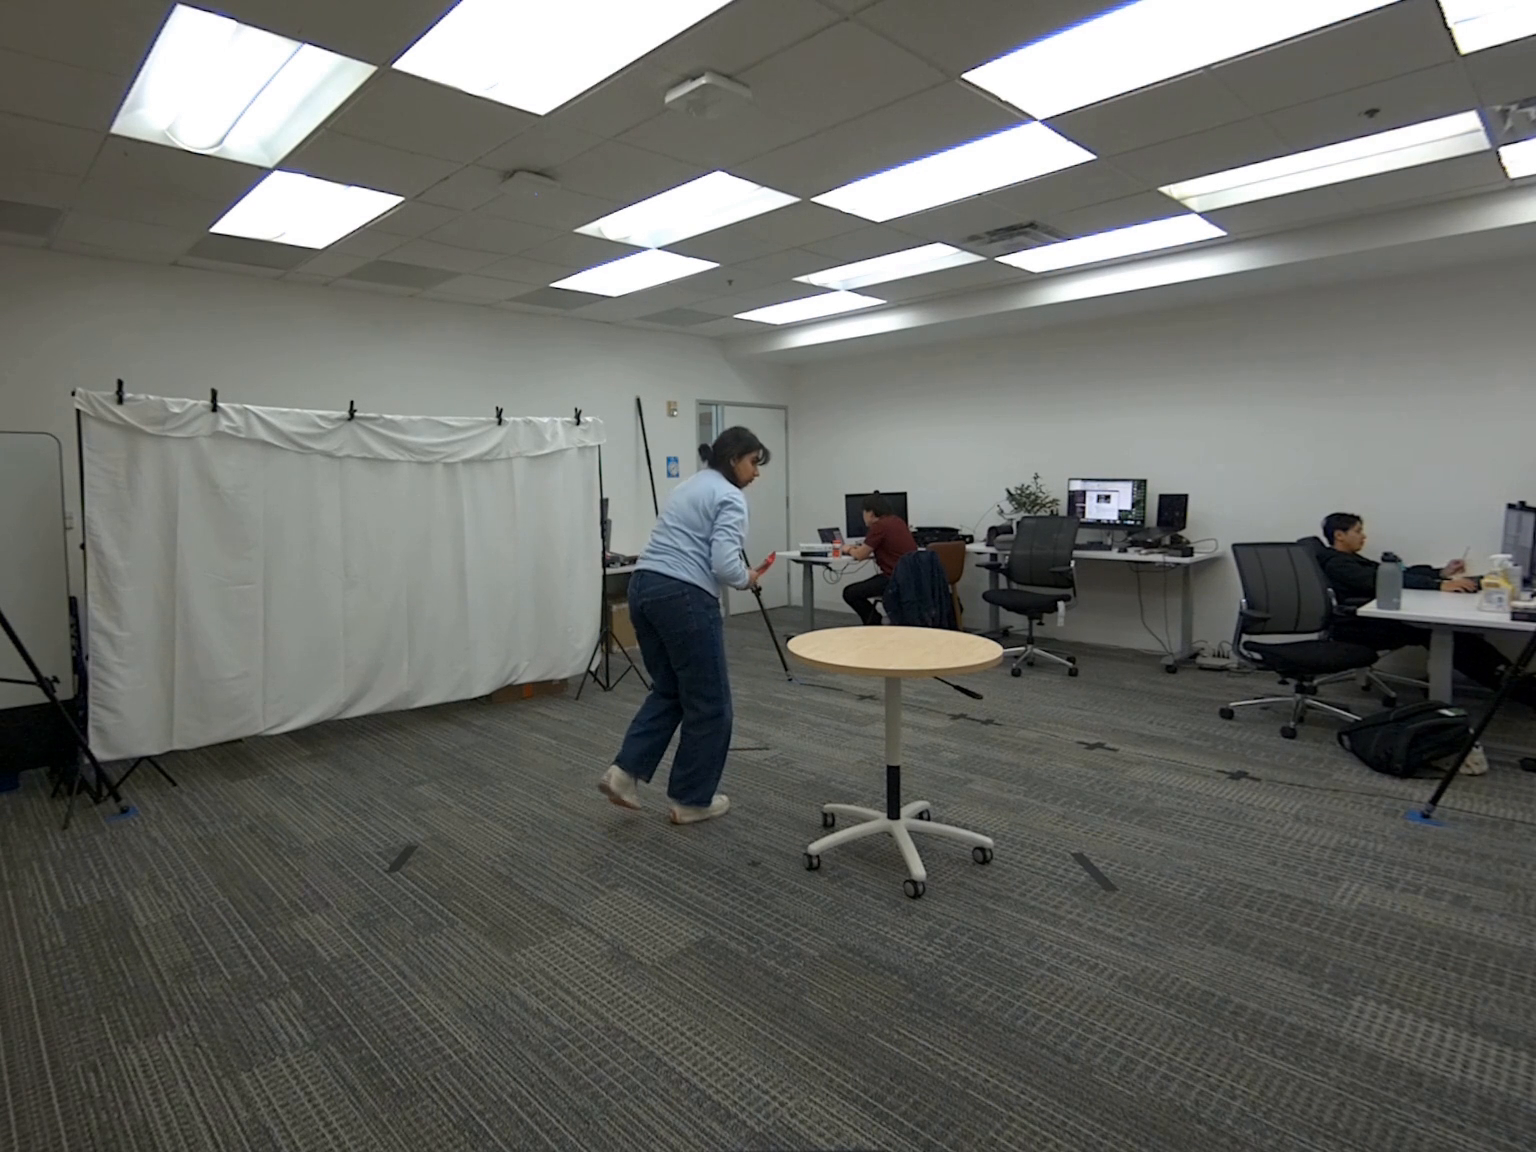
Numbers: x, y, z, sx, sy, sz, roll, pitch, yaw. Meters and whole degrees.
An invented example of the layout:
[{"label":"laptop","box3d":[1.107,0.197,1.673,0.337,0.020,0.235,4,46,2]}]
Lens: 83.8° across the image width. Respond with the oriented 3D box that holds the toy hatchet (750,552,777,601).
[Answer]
[{"label":"toy hatchet","box3d":[-0.062,0.006,3.651,0.030,0.129,0.269,38,54,13]}]
